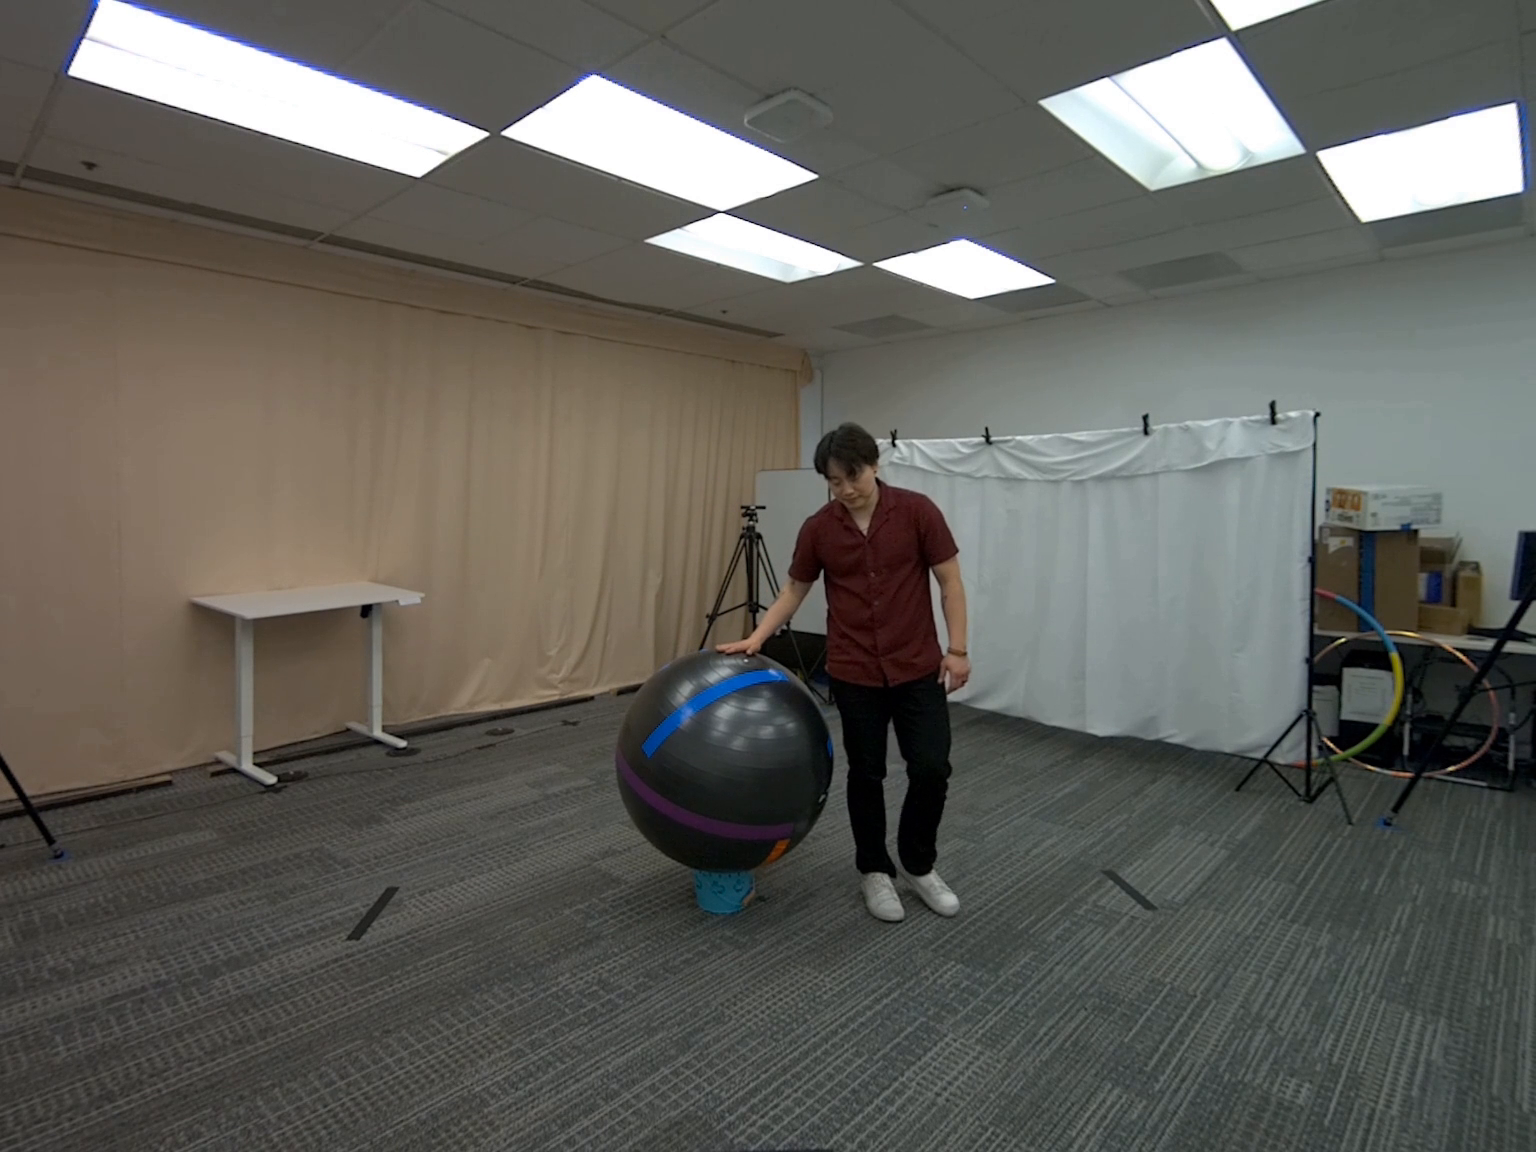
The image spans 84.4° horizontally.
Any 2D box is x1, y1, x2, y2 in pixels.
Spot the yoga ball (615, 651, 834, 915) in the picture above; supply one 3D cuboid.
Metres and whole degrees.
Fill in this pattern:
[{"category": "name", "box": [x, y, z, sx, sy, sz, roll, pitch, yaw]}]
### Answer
[{"category": "yoga ball", "box": [-0.145, 0.639, 2.944, 0.757, 0.756, 0.760, 0, 4, -2]}]
